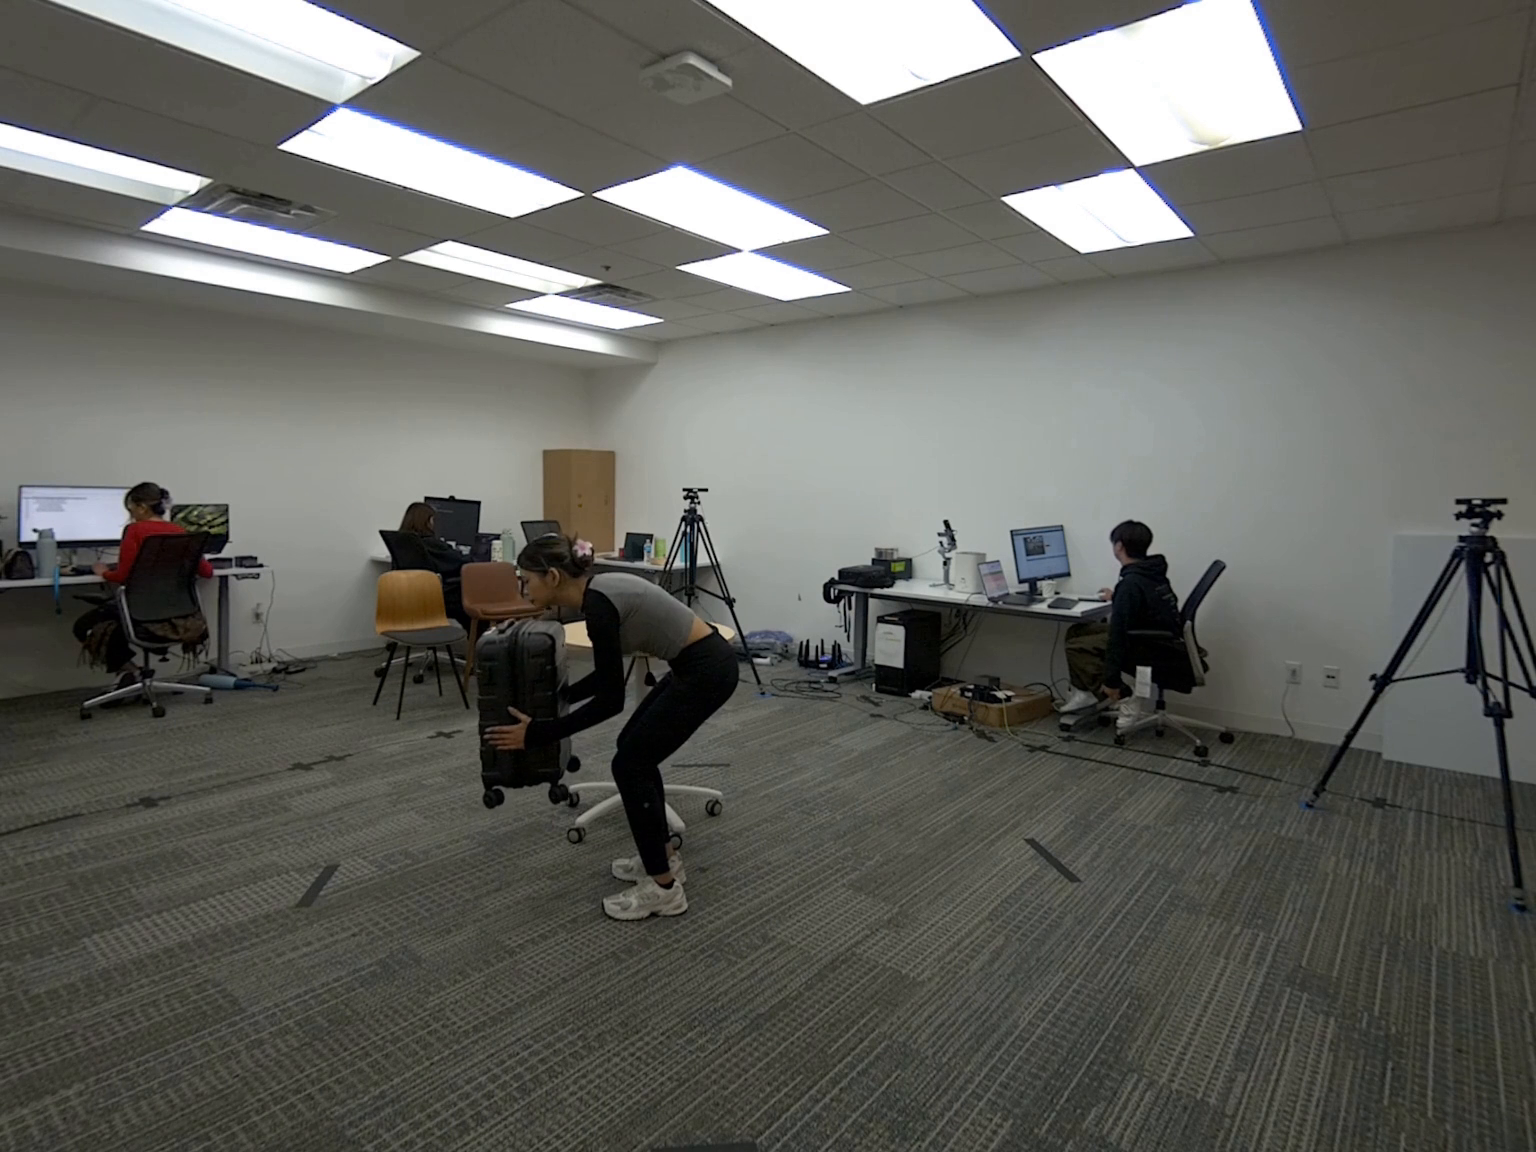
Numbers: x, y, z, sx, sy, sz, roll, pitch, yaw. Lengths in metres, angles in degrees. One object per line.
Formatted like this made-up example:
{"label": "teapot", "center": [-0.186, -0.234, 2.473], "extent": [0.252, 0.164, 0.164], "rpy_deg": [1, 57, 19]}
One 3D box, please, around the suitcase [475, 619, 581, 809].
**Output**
{"label": "suitcase", "center": [-0.807, 0.423, 2.806], "extent": [0.247, 0.548, 0.379], "rpy_deg": [-4, 3, -7]}
